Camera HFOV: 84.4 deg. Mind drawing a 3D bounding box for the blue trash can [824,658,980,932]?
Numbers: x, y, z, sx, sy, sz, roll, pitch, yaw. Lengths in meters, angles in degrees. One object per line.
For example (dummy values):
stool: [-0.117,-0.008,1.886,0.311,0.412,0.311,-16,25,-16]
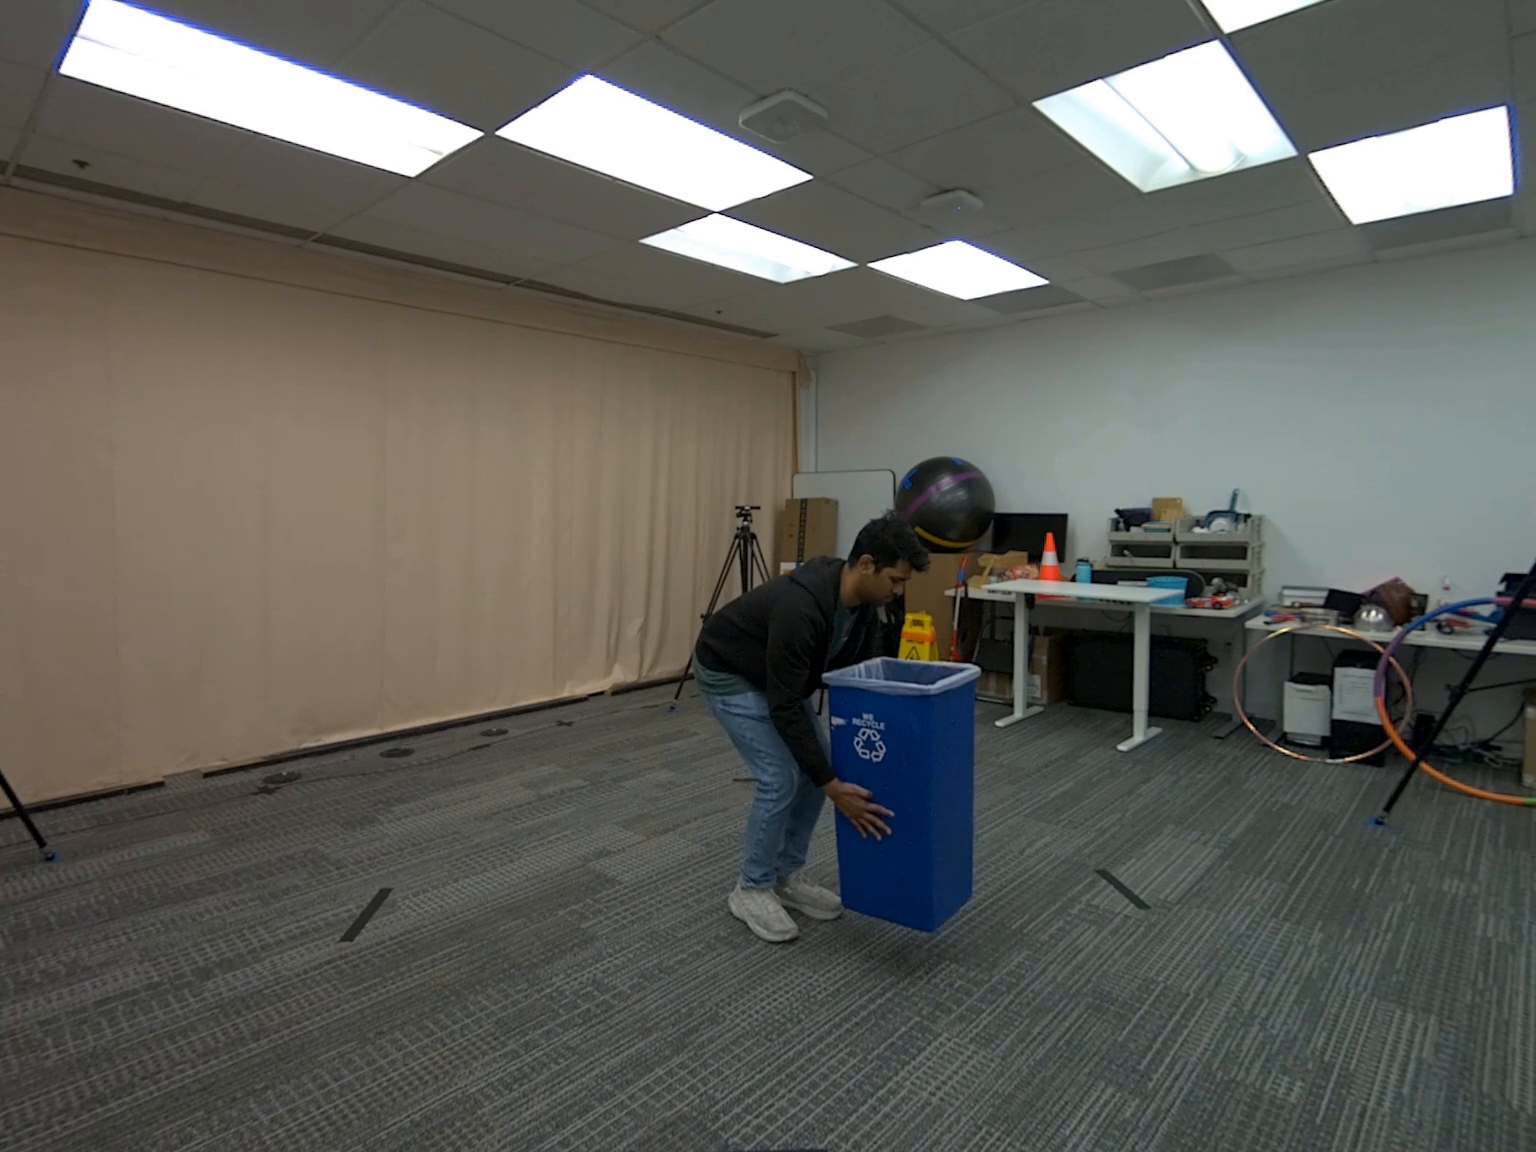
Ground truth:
blue trash can: [0.433,0.647,2.564,0.386,0.712,0.367,0,3,37]
